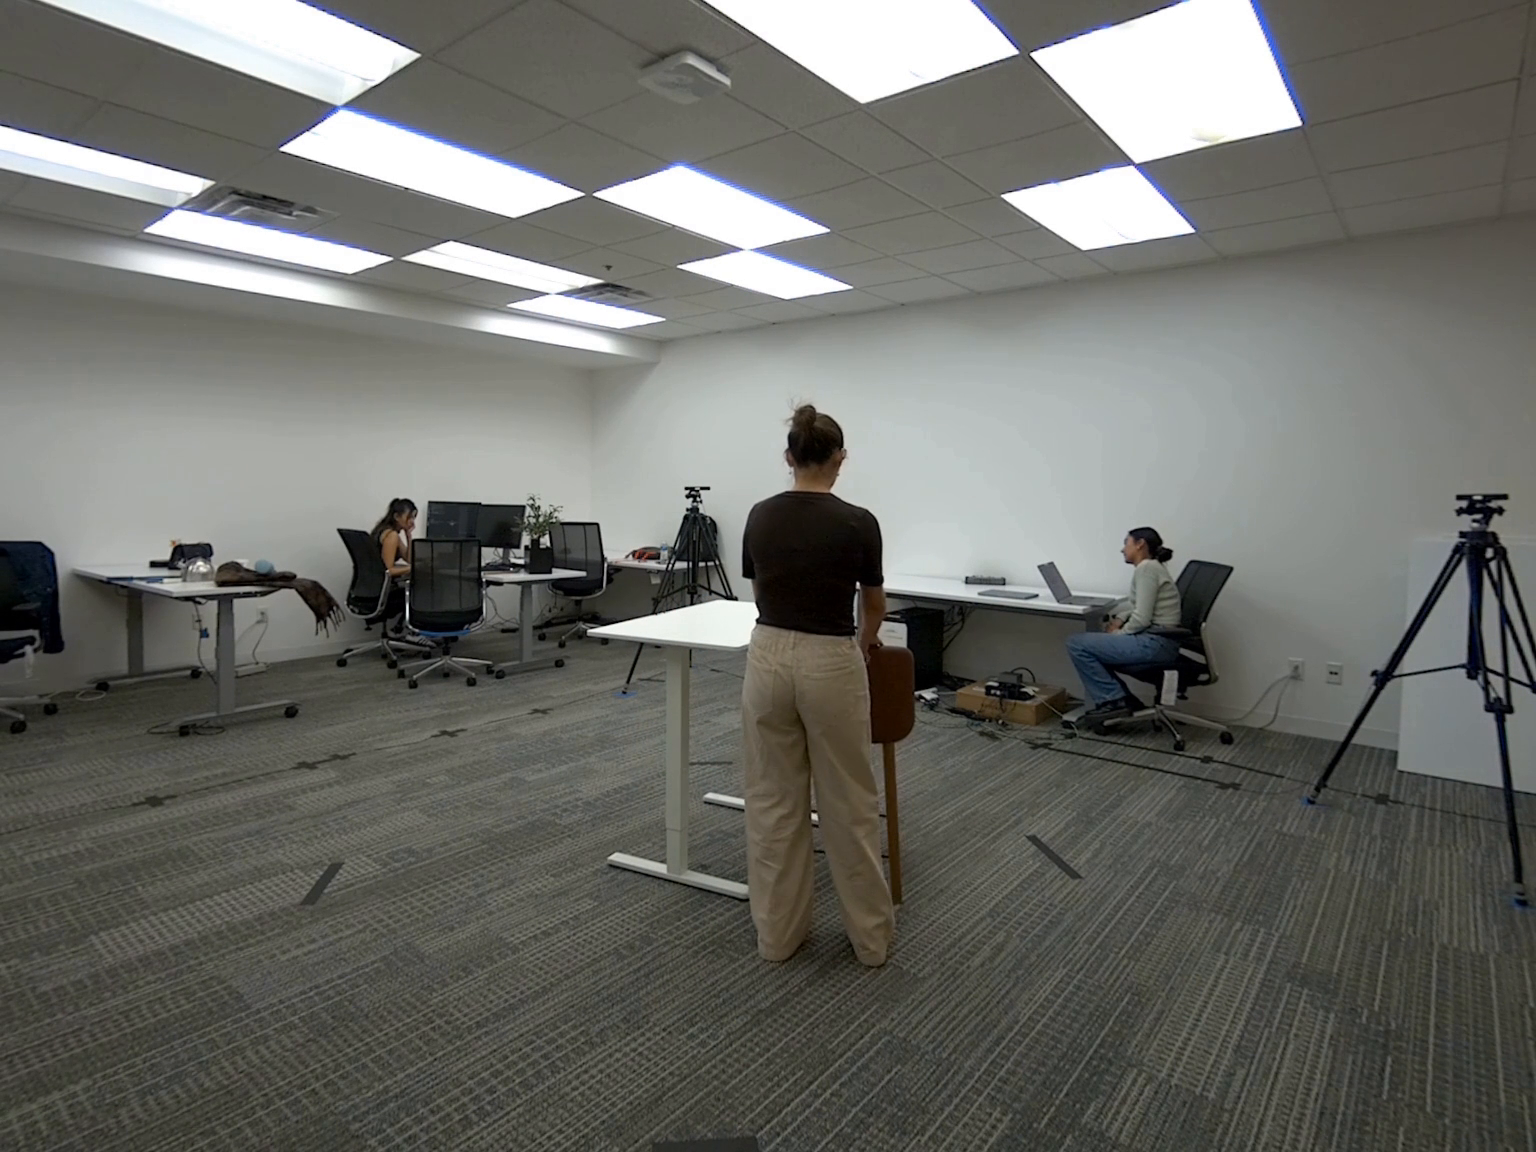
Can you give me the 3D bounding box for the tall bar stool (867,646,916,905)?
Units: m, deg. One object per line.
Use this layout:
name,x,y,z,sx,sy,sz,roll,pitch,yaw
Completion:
tall bar stool,0.284,0.636,3.075,0.460,0.885,0.466,1,6,6
